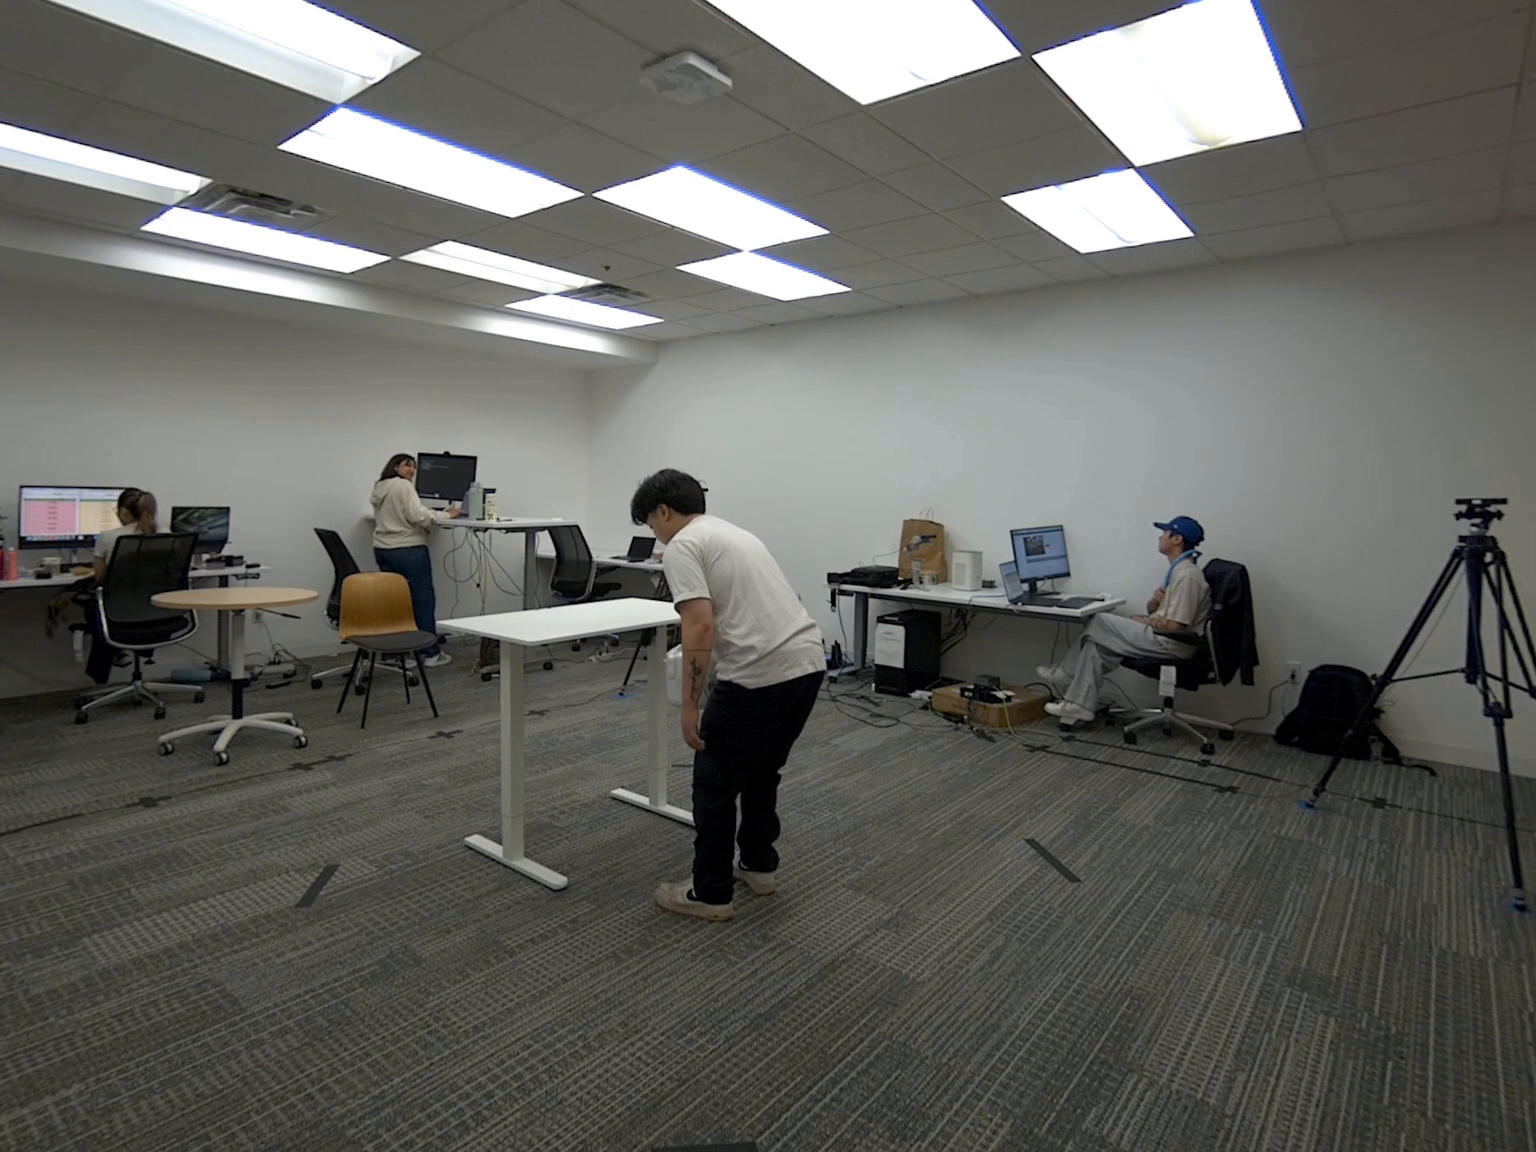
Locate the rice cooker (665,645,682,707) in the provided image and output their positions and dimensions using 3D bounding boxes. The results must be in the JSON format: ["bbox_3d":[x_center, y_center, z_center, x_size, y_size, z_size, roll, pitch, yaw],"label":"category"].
[{"bbox_3d":[-0.271,0.346,3.085,0.214,0.233,0.224,-1,0,-38],"label":"rice cooker"}]
